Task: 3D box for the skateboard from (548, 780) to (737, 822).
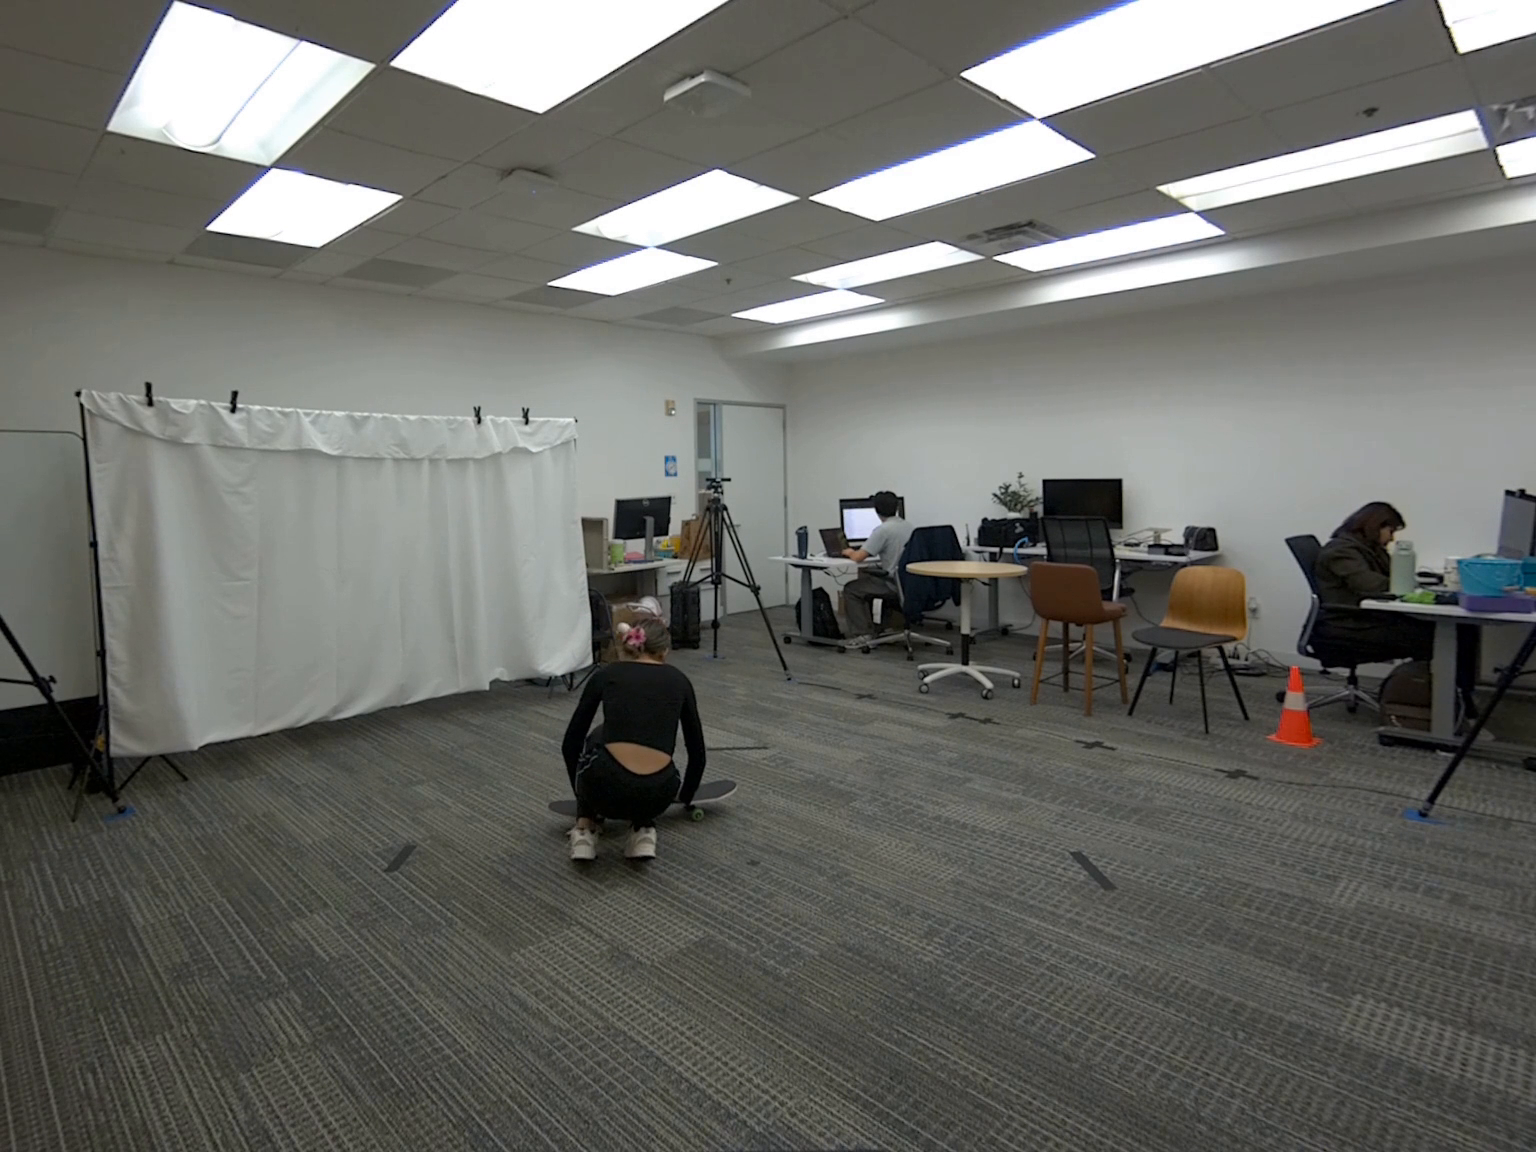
[{"bbox_3d":[-0.498,0.948,3.511,0.773,0.110,0.197,-3,6,-17],"label":"skateboard"}]
